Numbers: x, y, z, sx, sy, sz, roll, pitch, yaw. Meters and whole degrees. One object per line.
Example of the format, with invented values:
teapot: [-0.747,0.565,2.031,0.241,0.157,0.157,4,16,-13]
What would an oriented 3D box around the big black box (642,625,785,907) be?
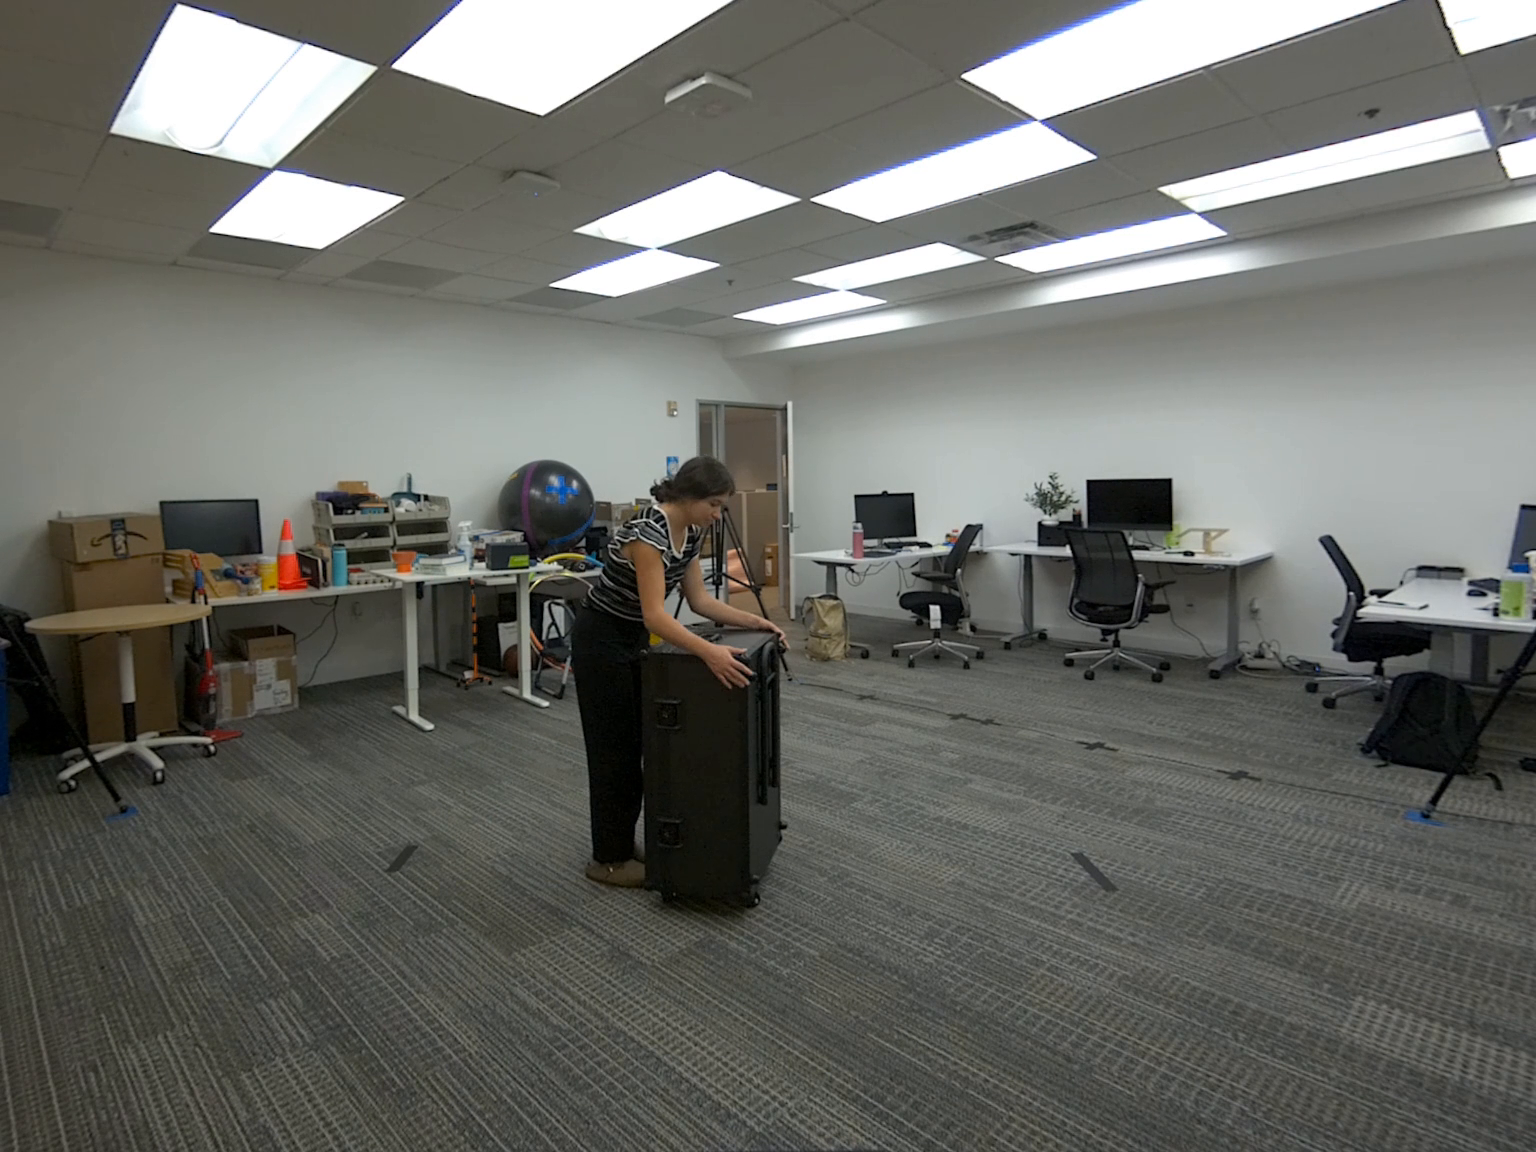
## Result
big black box: [-0.167,0.640,2.934,0.401,0.859,0.516,1,4,12]
